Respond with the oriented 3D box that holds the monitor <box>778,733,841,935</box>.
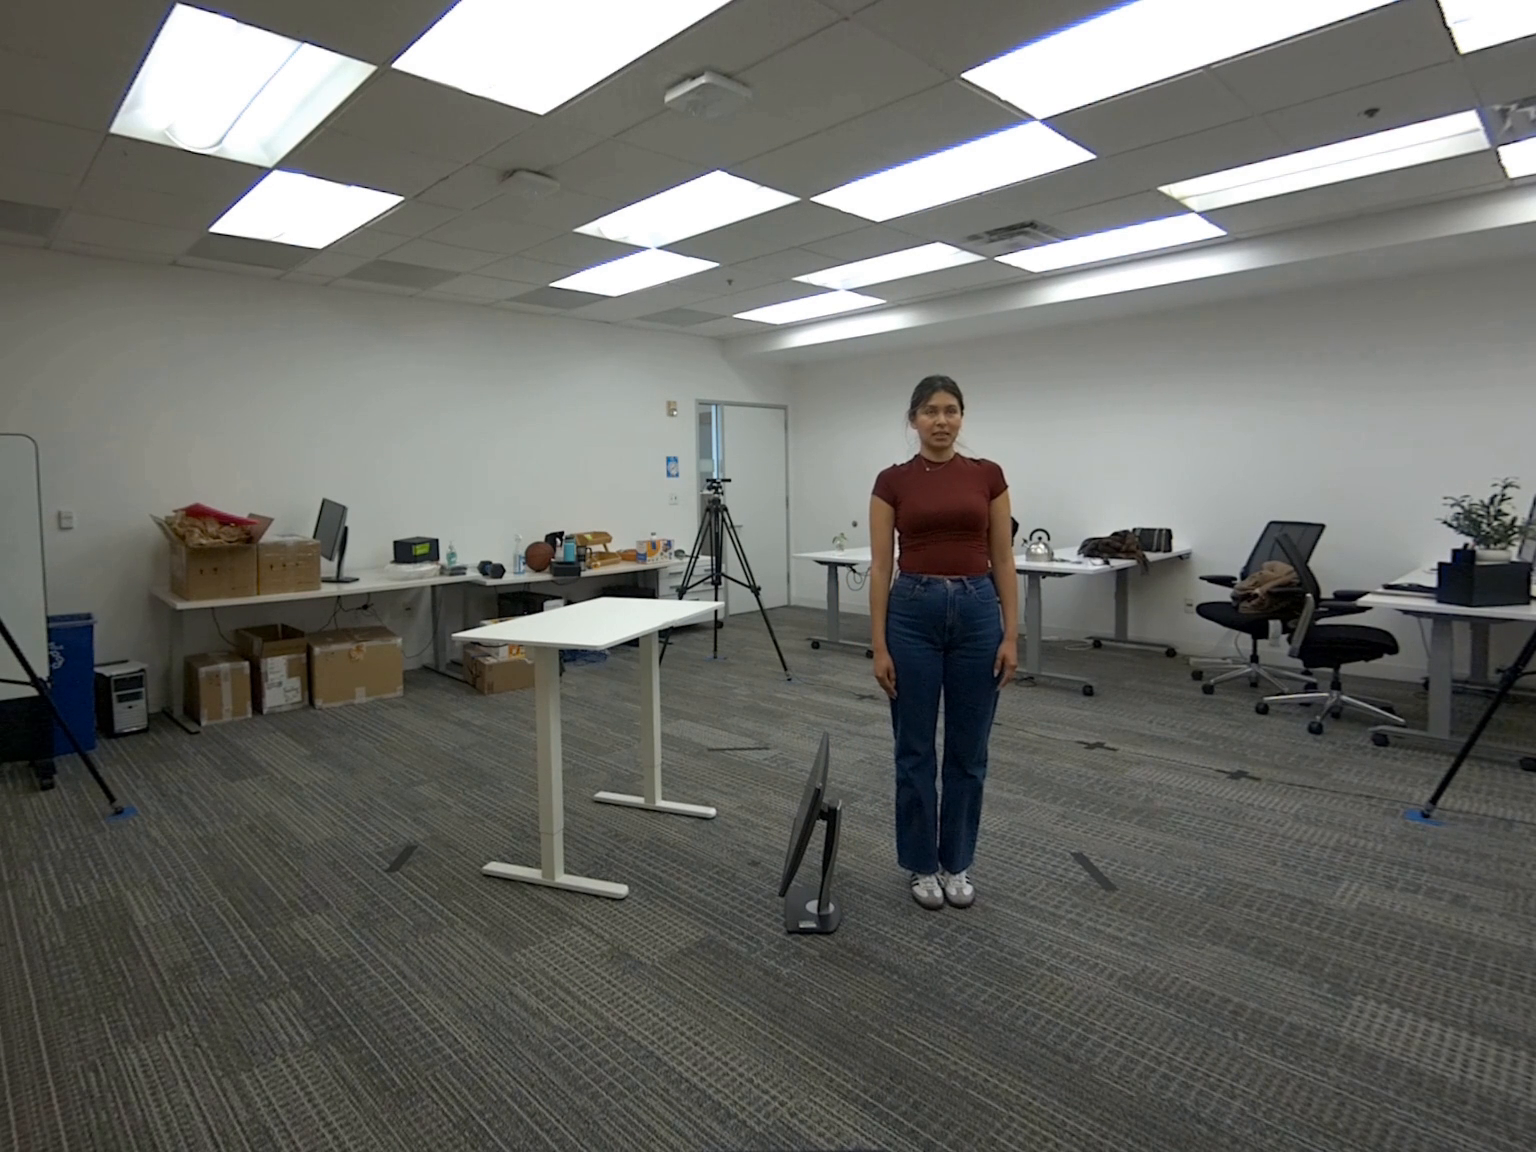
[{"bbox_3d":[0.163,0.838,2.724,0.189,0.521,0.536,3,5,7],"label":"monitor"}]
